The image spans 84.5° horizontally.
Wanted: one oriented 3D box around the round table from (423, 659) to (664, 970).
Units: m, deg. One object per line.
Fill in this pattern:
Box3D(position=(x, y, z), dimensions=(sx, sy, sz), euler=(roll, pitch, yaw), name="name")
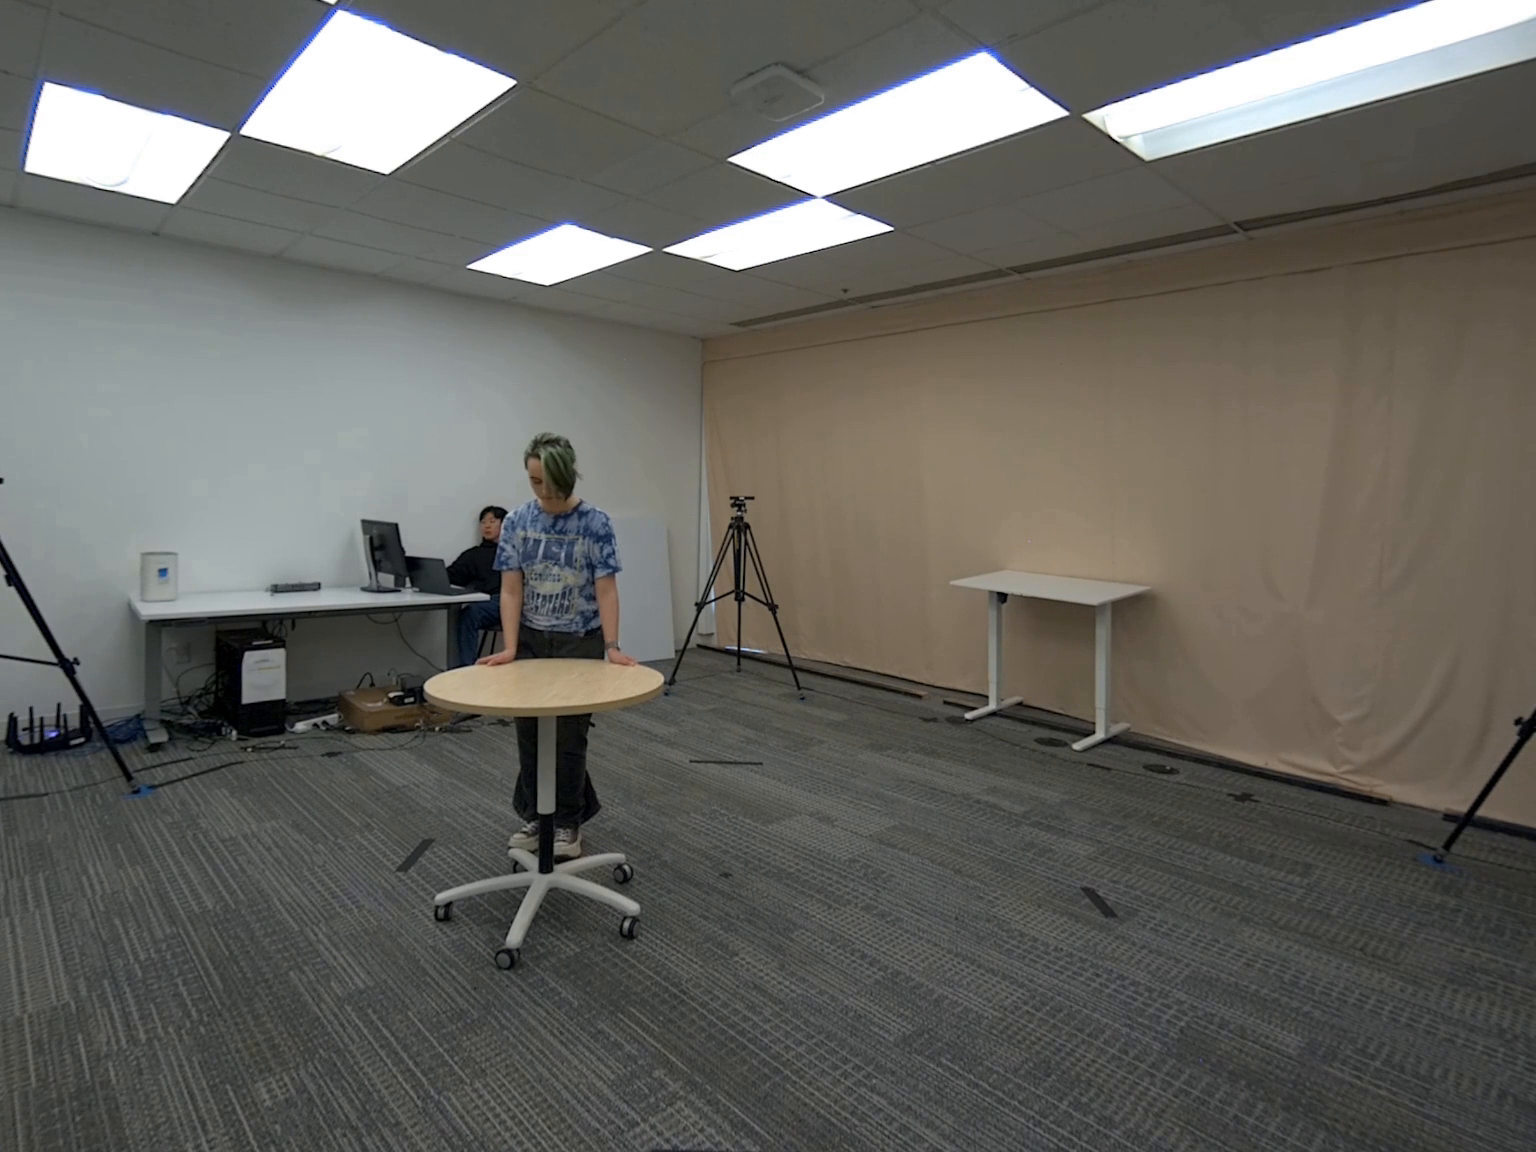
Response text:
Box3D(position=(-0.735, 0.734, 2.771), dimensions=(0.763, 0.792, 0.766), euler=(1, 4, -1), name="round table")
